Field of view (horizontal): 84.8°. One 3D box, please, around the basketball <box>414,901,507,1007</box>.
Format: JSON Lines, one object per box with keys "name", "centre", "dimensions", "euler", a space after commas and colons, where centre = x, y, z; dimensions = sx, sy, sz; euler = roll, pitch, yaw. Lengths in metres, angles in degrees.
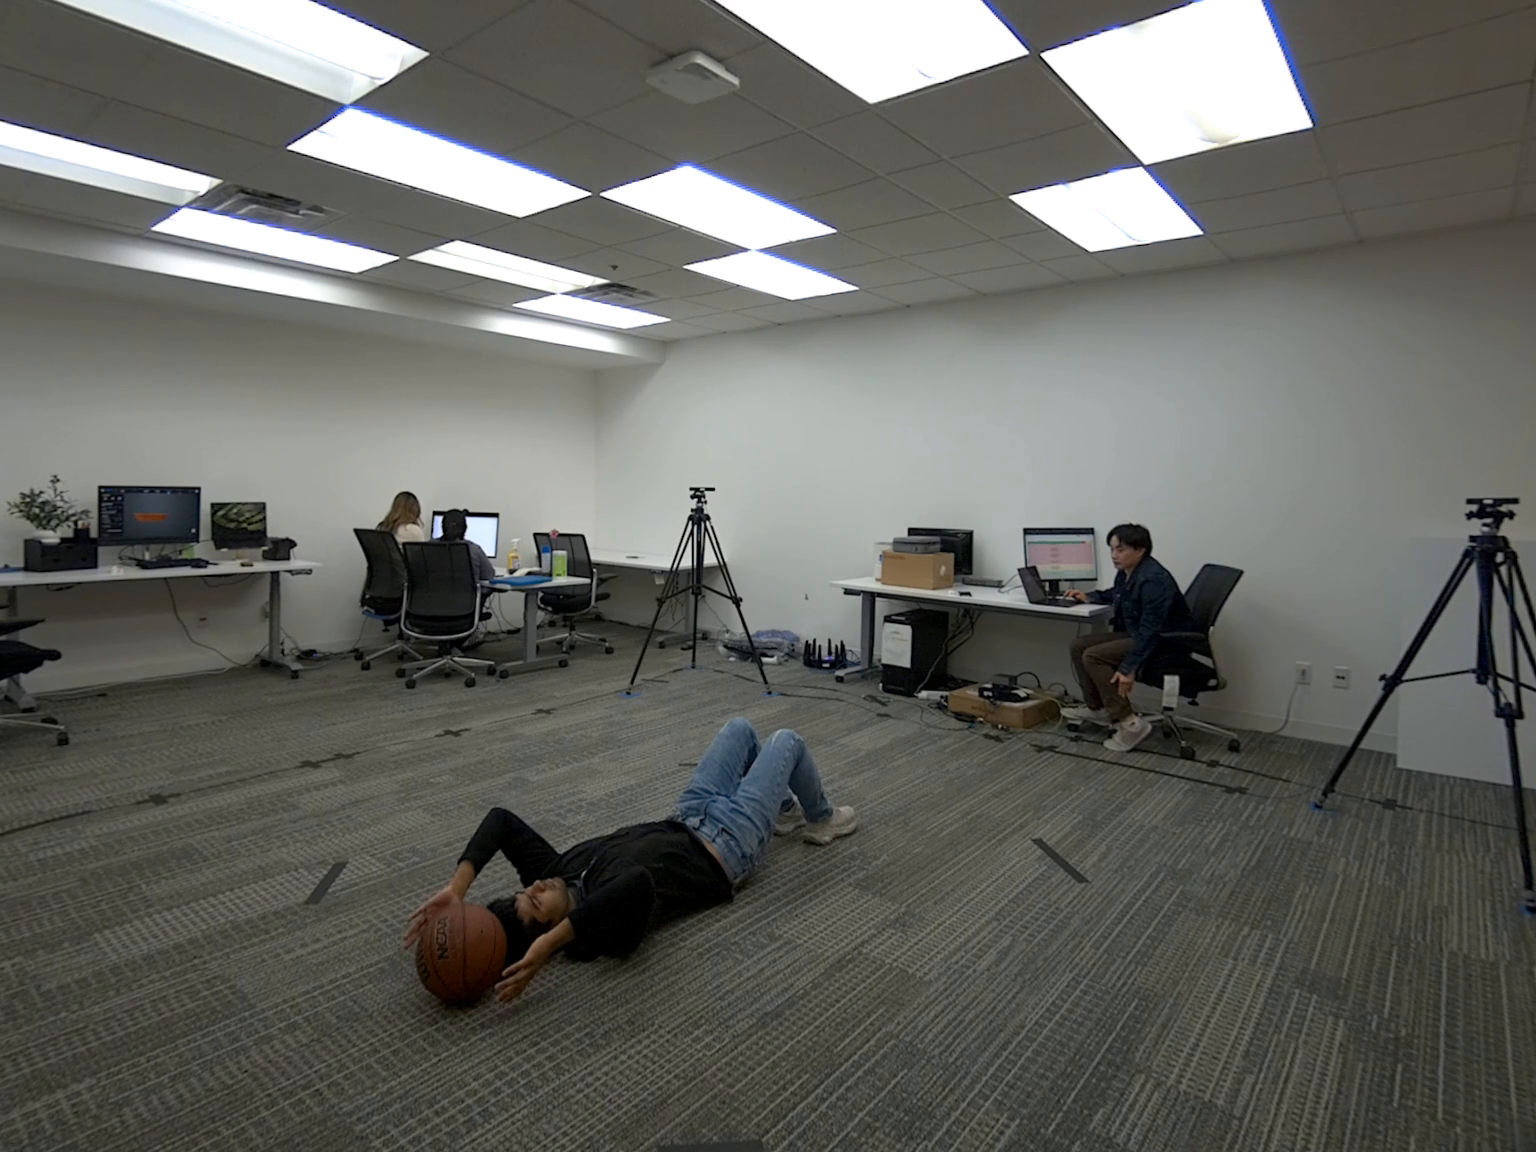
{"name": "basketball", "centre": [-0.836, 1.018, 2.304], "dimensions": [0.235, 0.235, 0.237], "euler": [1, 4, -2]}
